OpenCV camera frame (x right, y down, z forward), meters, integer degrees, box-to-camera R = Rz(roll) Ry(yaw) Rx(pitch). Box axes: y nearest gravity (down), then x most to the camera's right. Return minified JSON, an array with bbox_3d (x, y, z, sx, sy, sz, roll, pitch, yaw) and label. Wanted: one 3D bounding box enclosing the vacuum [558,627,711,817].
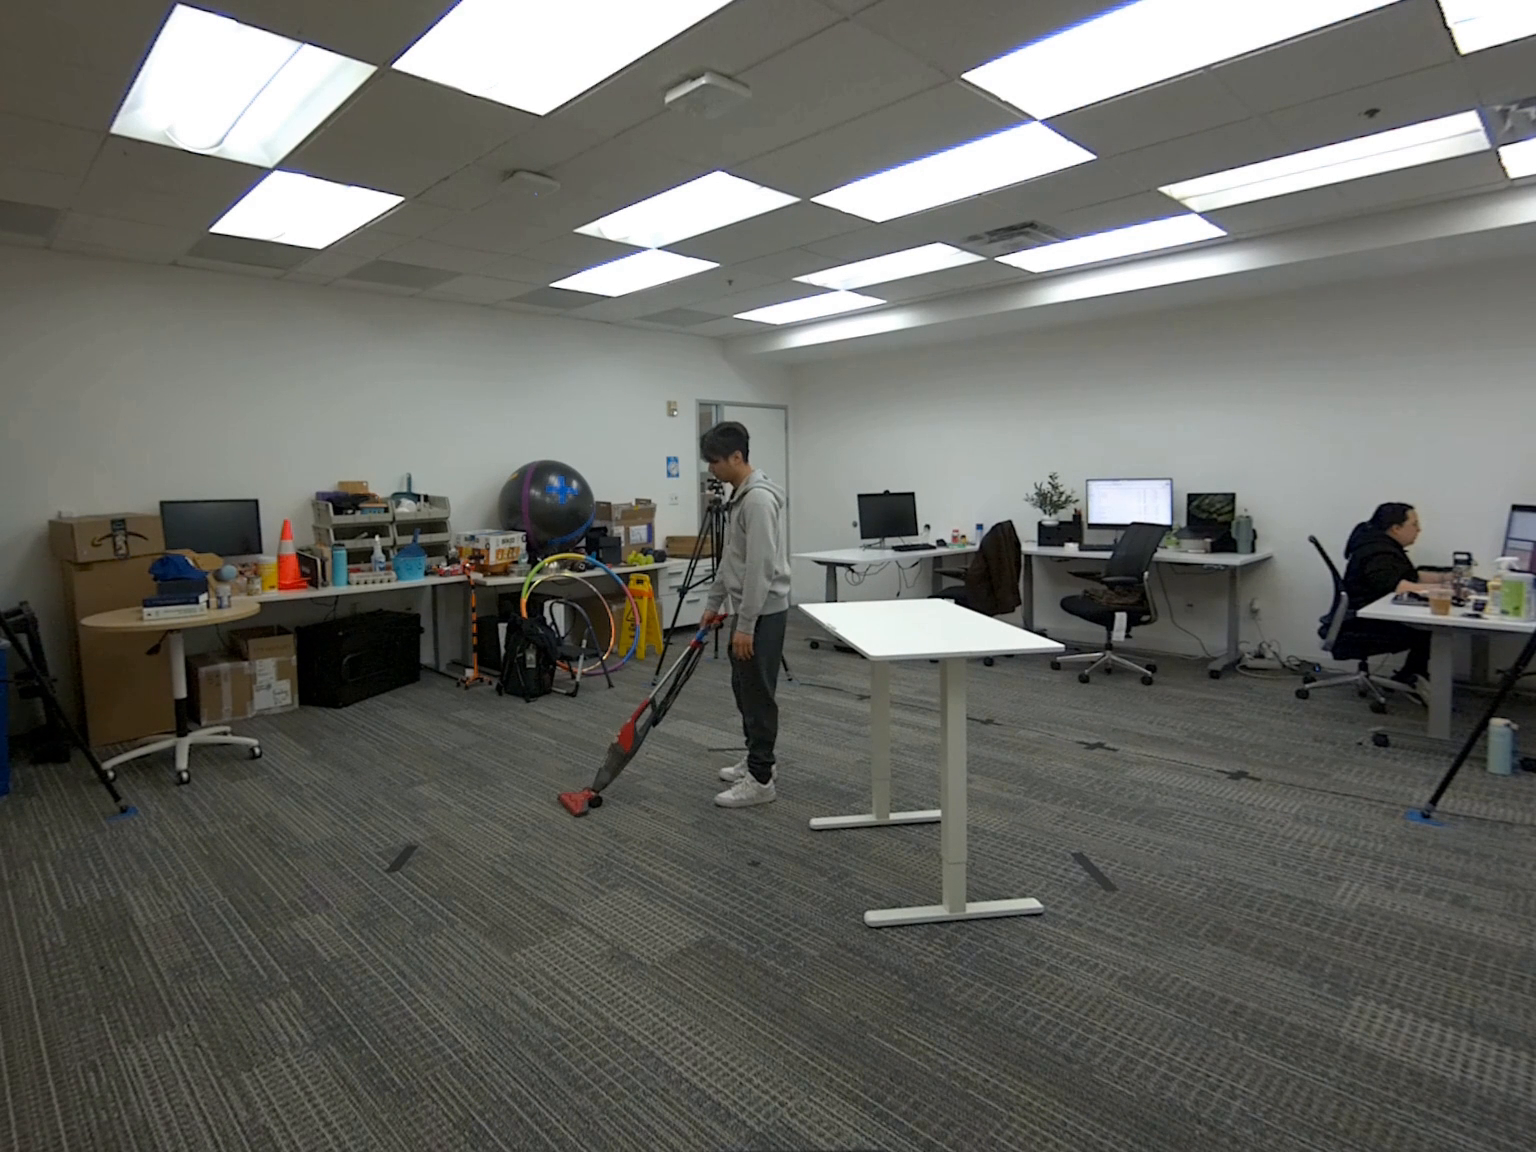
[{"bbox_3d":[-0.504,0.585,3.859,0.139,1.051,0.260,47,-20,-27],"label":"vacuum"}]
